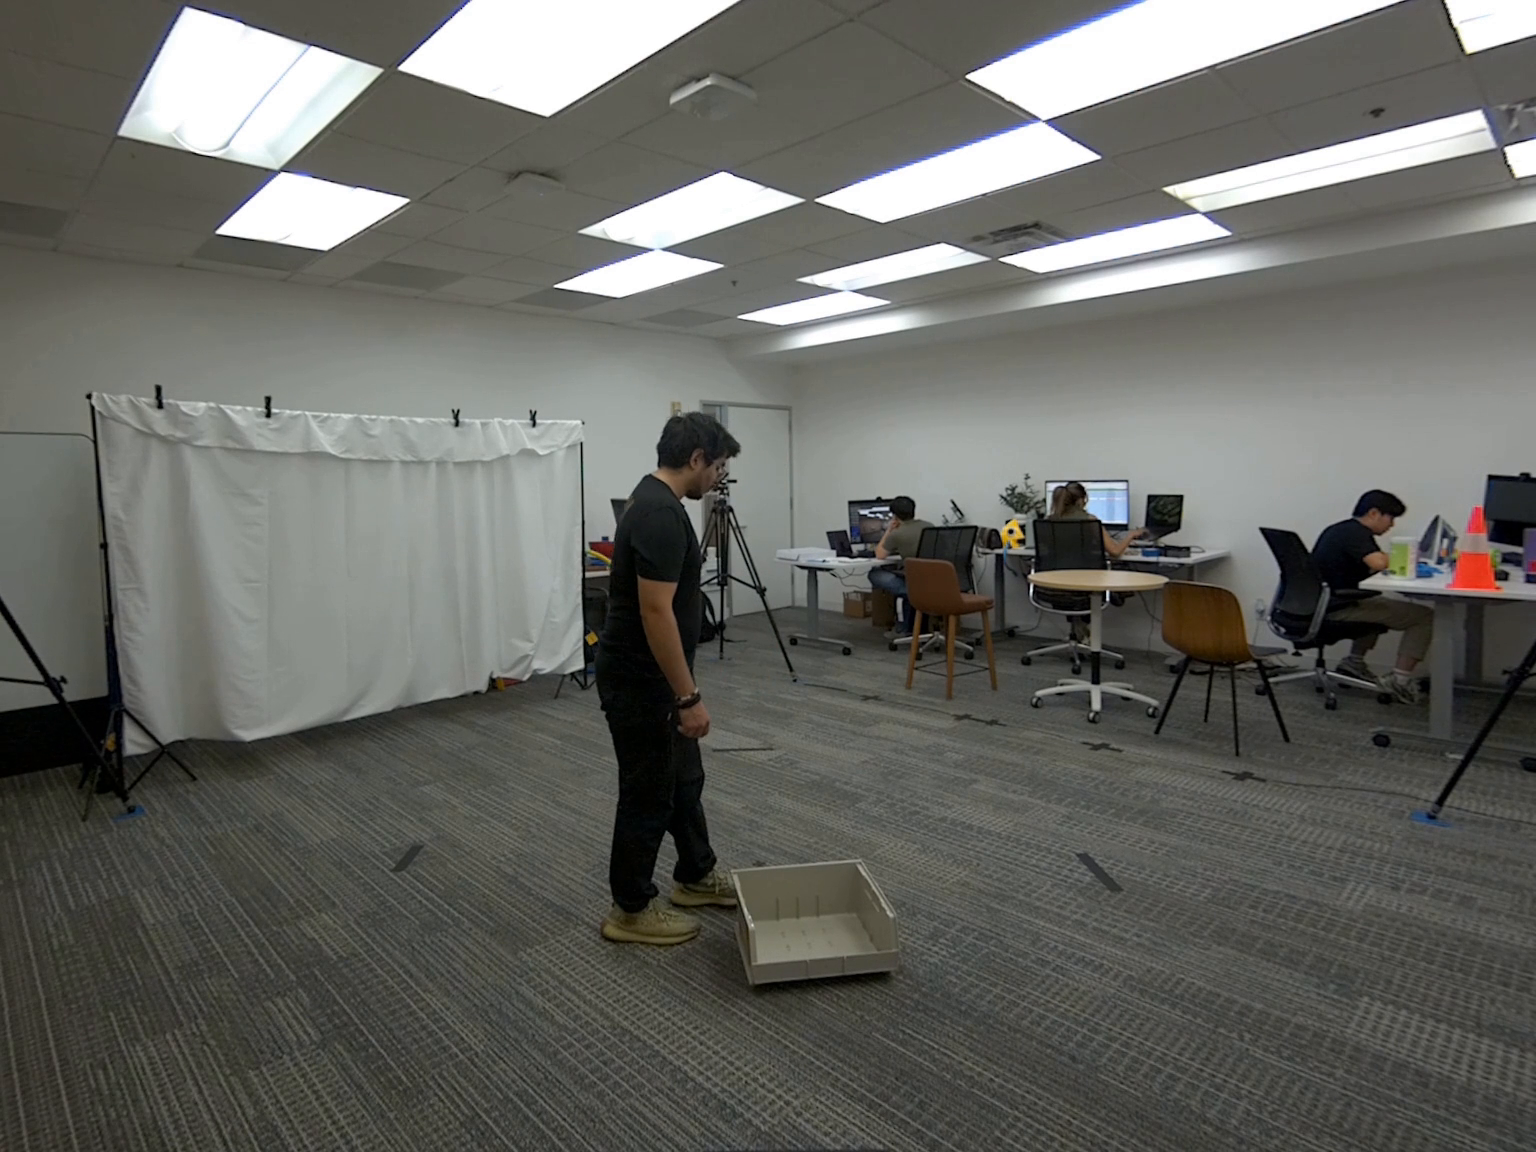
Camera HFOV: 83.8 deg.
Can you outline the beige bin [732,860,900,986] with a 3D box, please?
[{"bbox_3d":[0.132,1.029,2.499,0.419,0.188,0.382,-2,6,-8],"label":"beige bin"}]
